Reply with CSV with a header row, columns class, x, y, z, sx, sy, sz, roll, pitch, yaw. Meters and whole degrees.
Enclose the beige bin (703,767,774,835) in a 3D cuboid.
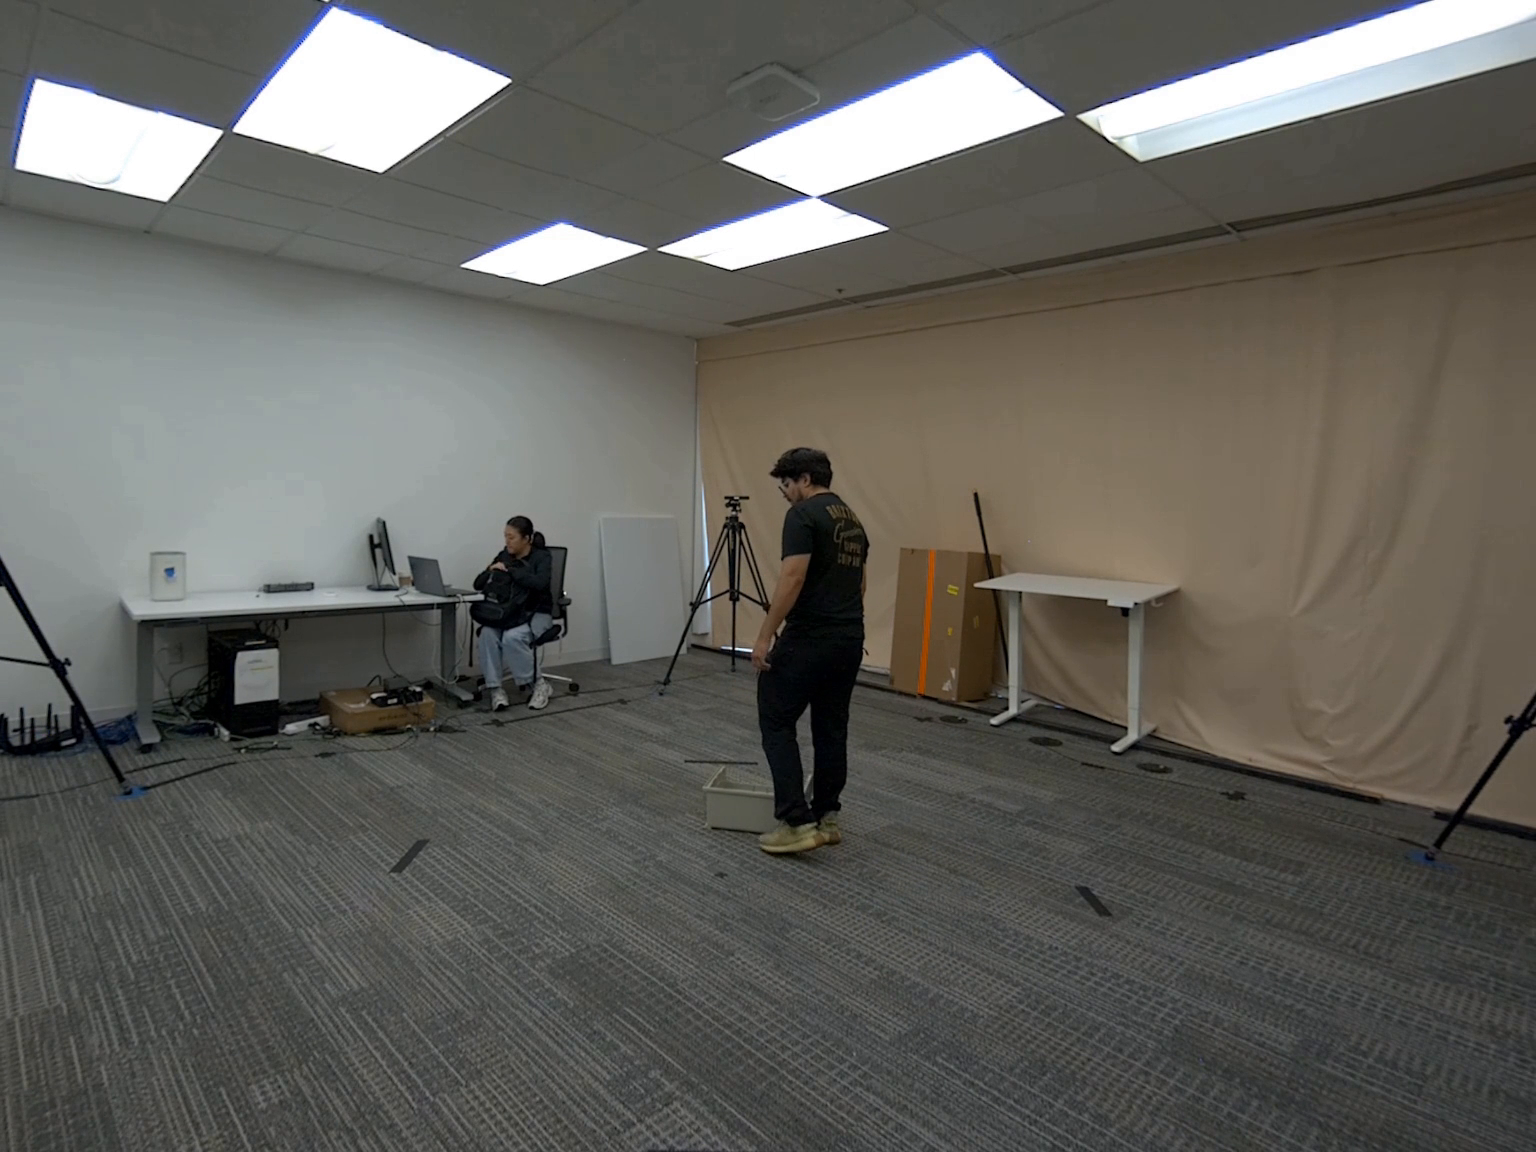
class,x,y,z,sx,sy,sz,roll,pitch,yaw
beige bin,-0.043,0.968,3.666,0.427,0.188,0.375,3,6,12
